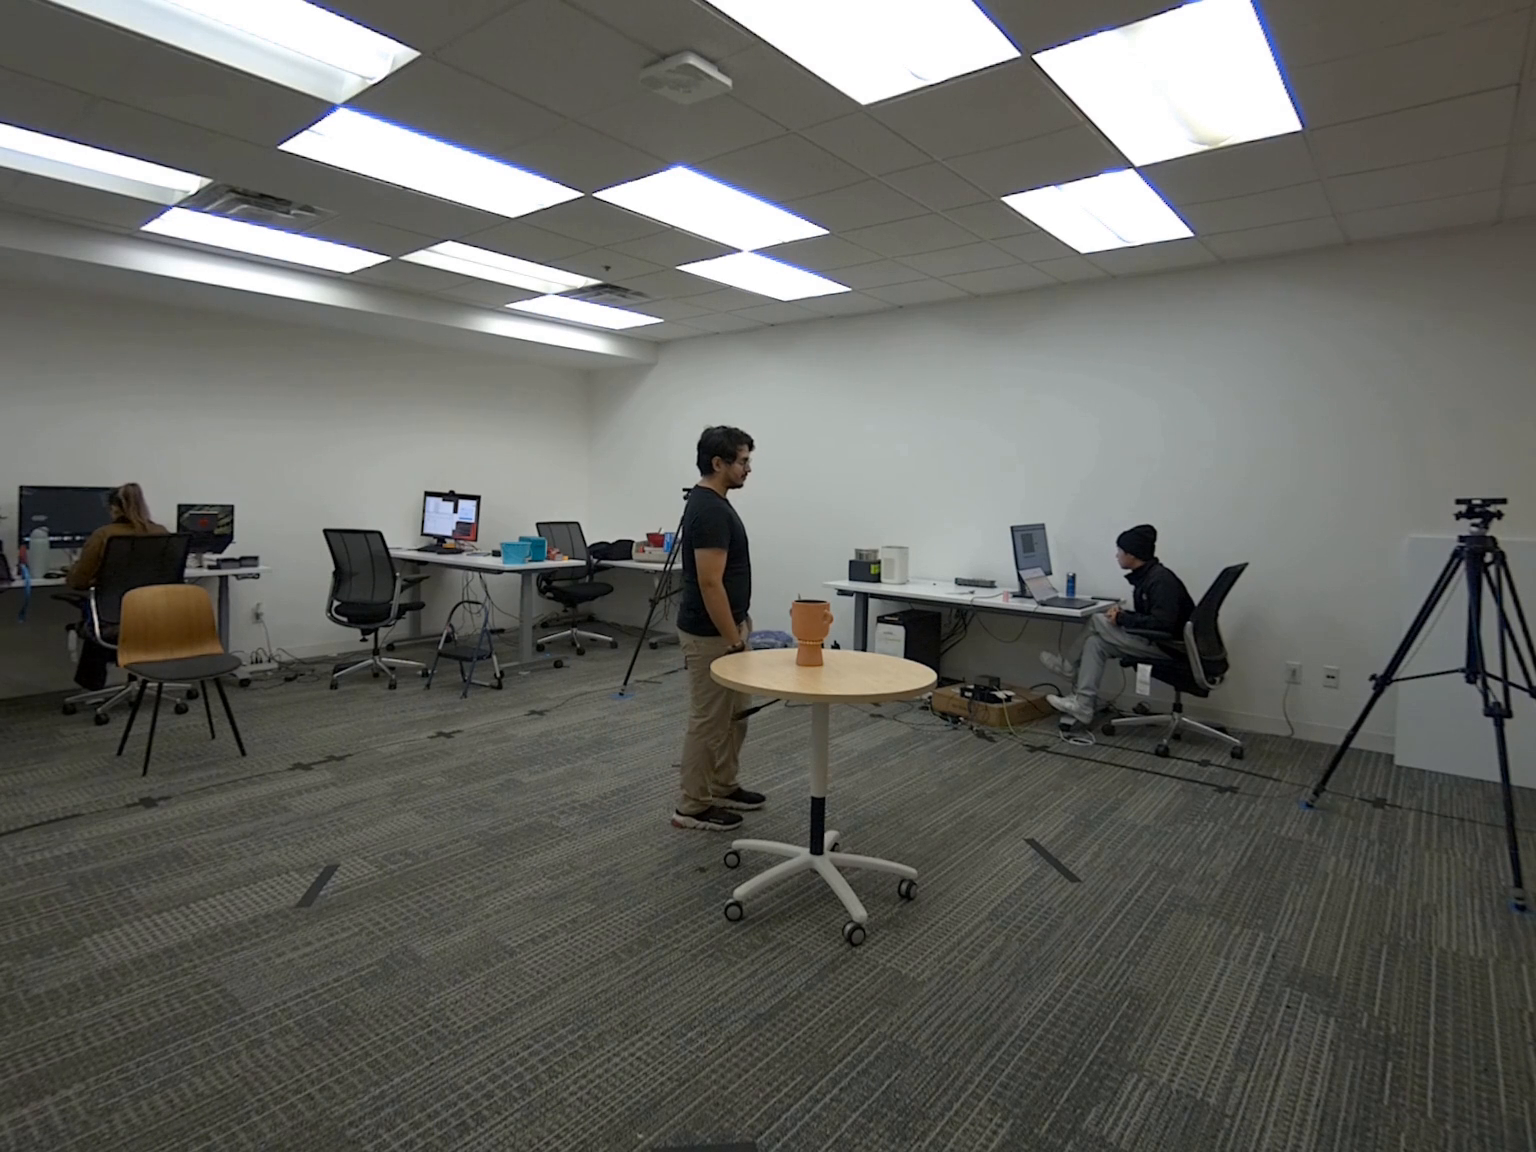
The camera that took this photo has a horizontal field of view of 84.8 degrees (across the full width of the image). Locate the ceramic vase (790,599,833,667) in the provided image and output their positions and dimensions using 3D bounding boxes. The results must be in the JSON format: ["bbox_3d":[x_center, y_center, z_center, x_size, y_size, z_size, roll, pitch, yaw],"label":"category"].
[{"bbox_3d":[0.148,0.203,2.987,0.134,0.219,0.160,4,3,-7],"label":"ceramic vase"}]
